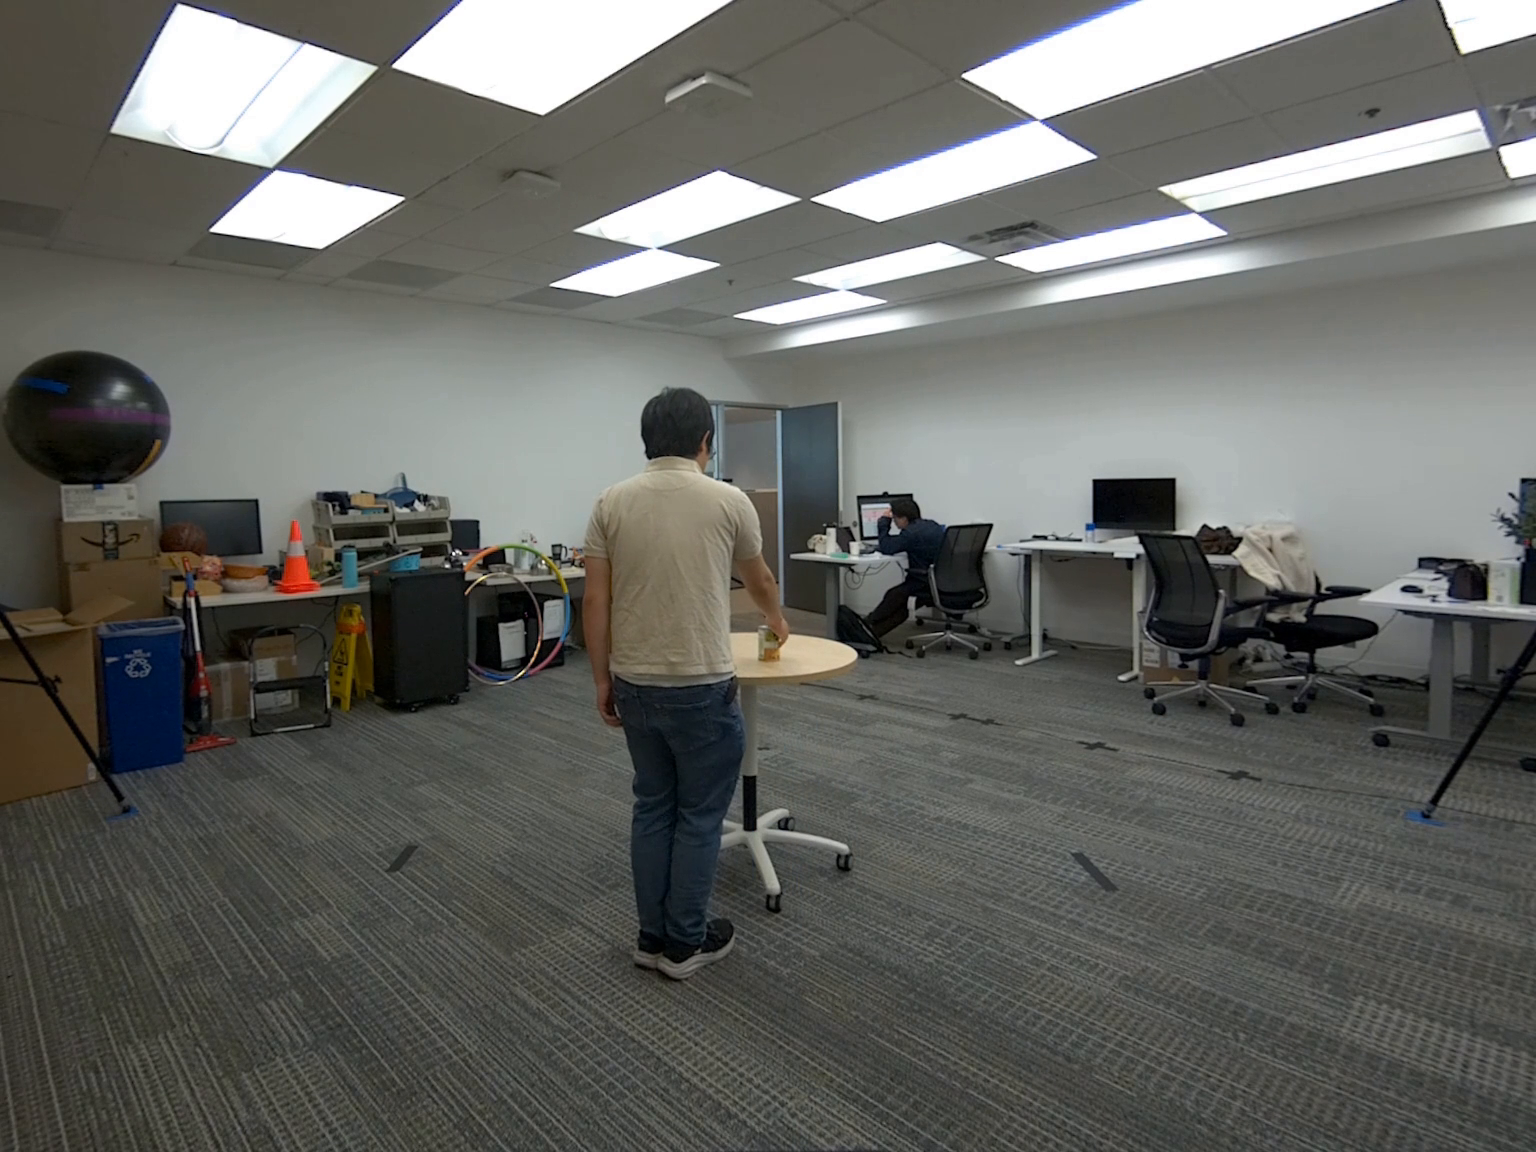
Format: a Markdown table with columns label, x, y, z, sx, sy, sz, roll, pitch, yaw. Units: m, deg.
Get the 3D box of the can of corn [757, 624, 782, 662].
| label | x | y | z | sx | sy | sz | roll | pitch | yaw |
| --- | --- | --- | --- | --- | --- | --- | --- | --- | --- |
| can of corn | 0.005 | 0.231 | 2.892 | 0.074 | 0.110 | 0.075 | 2 | 7 | -2 |
